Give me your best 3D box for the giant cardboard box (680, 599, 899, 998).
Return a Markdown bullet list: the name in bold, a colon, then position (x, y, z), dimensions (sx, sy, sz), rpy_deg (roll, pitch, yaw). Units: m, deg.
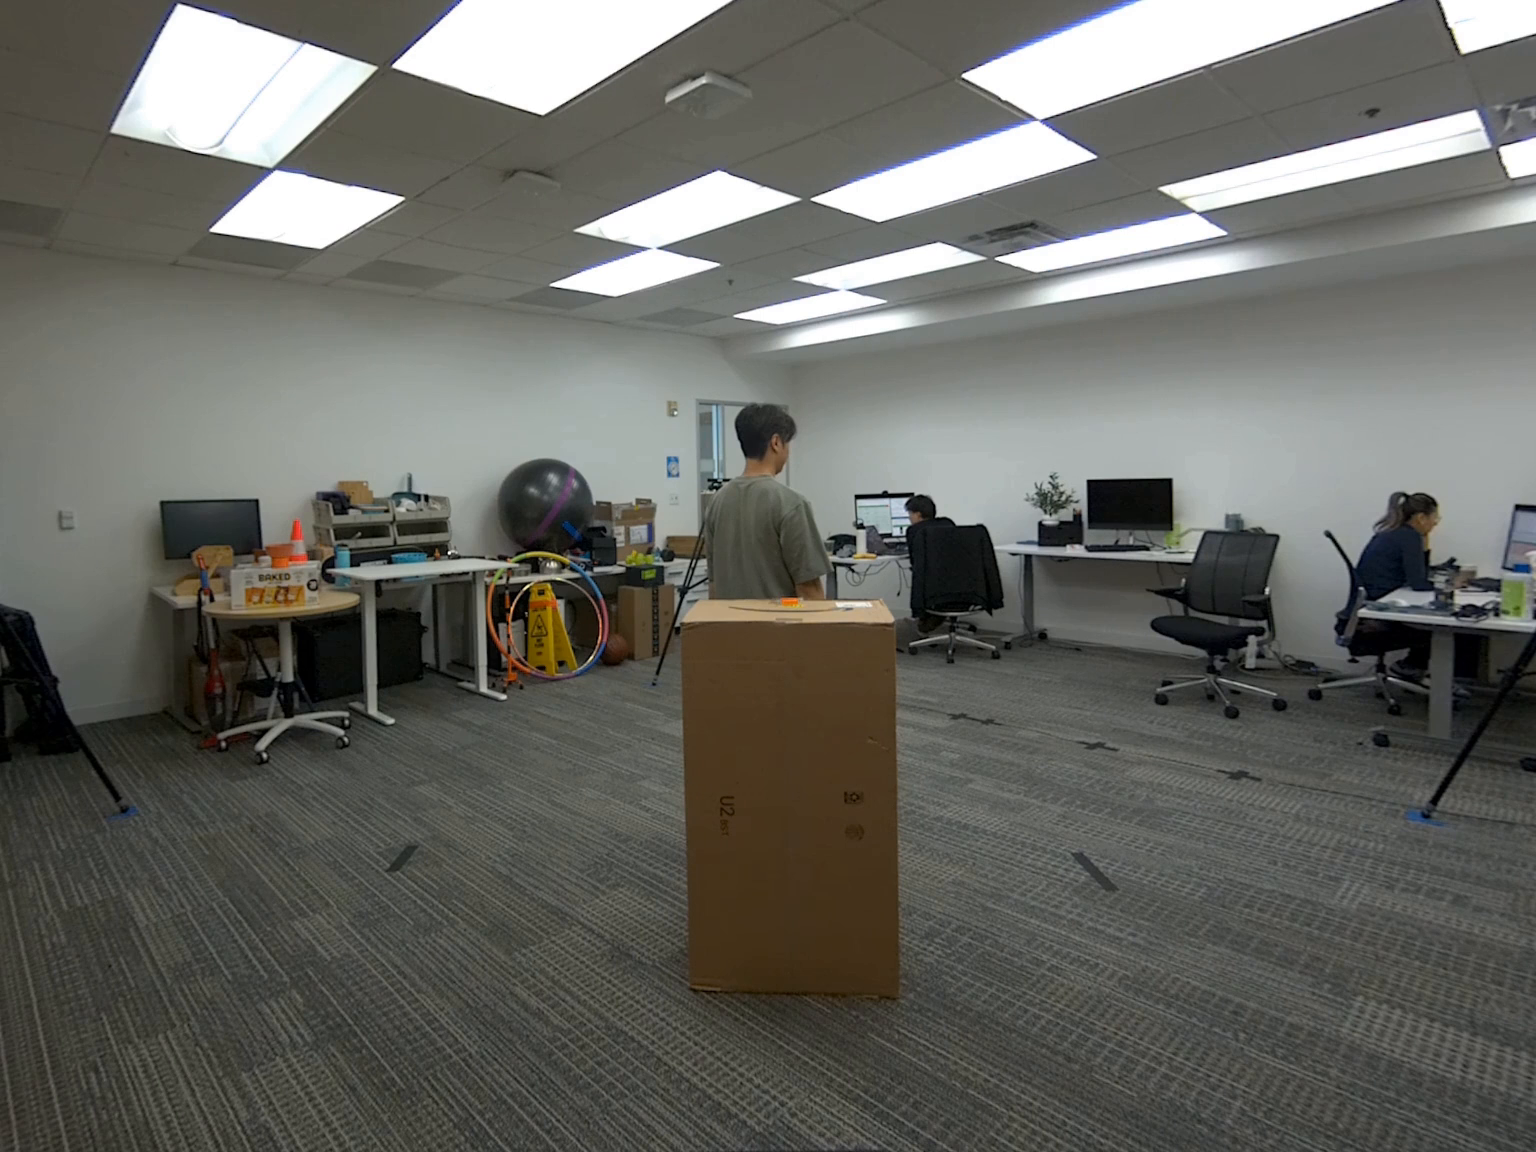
- **giant cardboard box**: position (0.075, 0.604, 2.494), dimensions (0.580, 1.022, 0.426), rpy_deg (-1, 4, 4)
